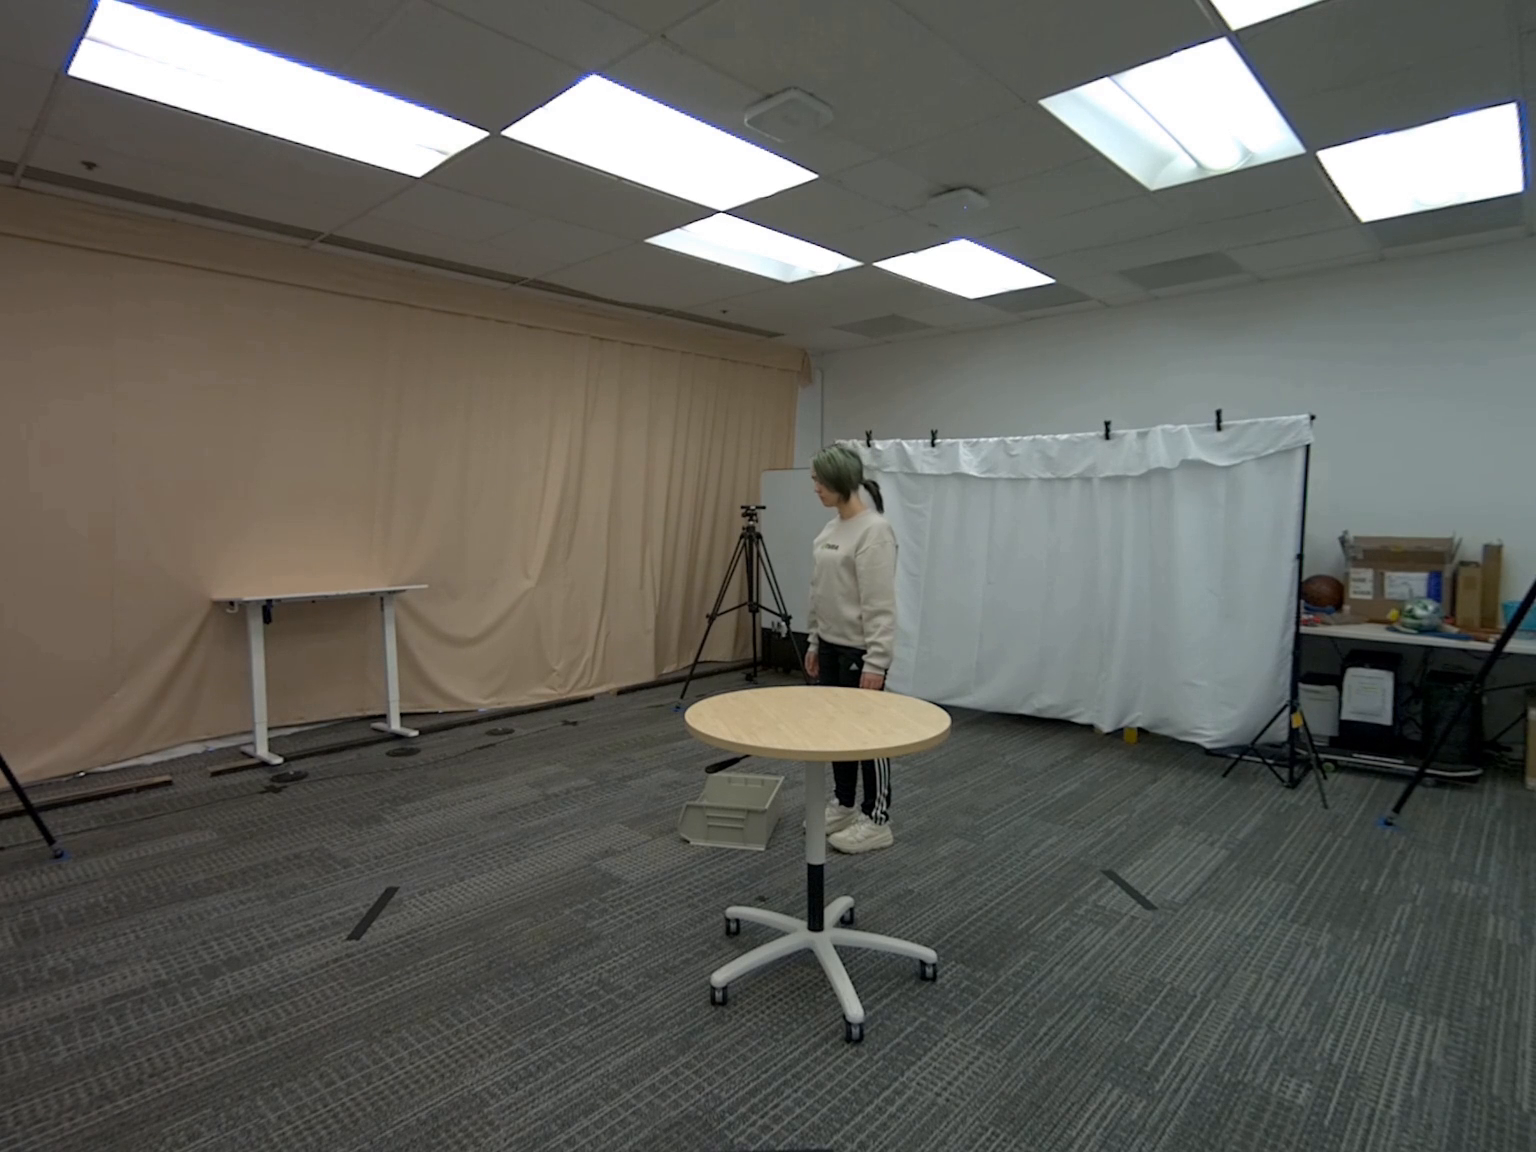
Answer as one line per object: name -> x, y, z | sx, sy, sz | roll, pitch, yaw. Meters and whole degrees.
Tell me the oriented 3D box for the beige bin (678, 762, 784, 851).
beige bin -> -0.147, 1.004, 3.633 | 0.383, 0.188, 0.417 | 1, 4, 12
